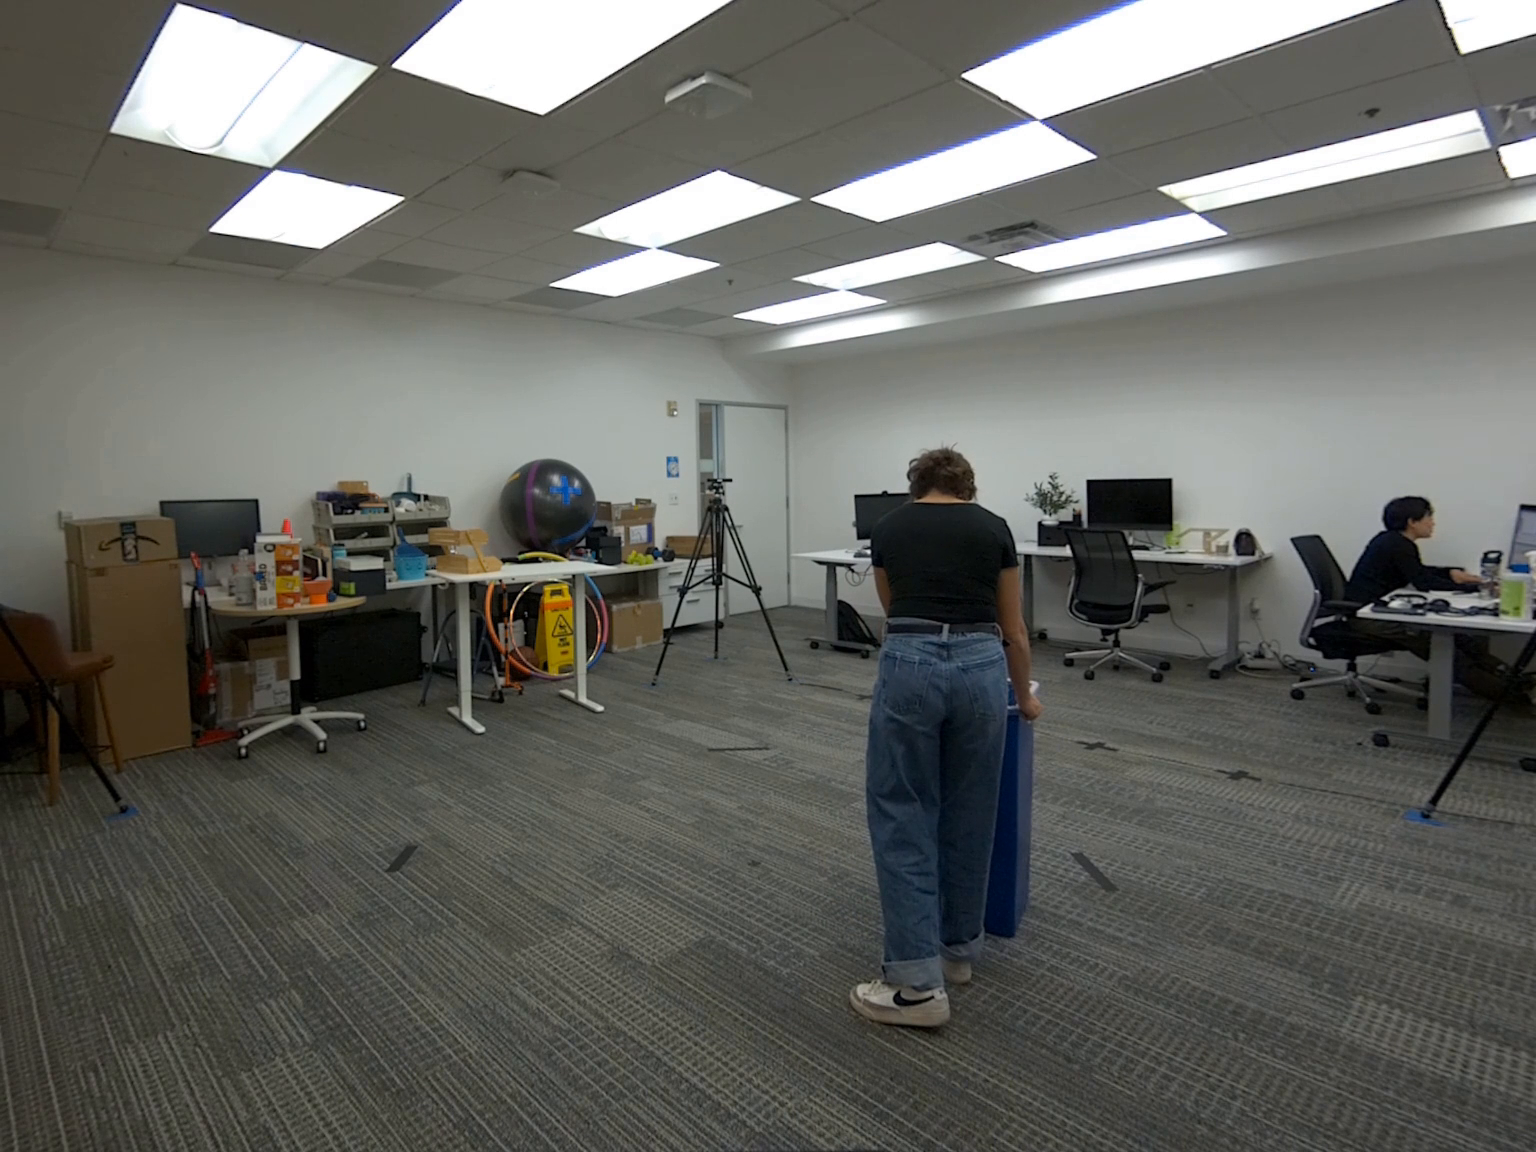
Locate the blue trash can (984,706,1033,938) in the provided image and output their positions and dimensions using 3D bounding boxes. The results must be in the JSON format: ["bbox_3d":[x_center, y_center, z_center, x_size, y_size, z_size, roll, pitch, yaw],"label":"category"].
[{"bbox_3d":[0.661,0.717,2.748,0.383,0.711,0.370,1,4,26],"label":"blue trash can"}]
